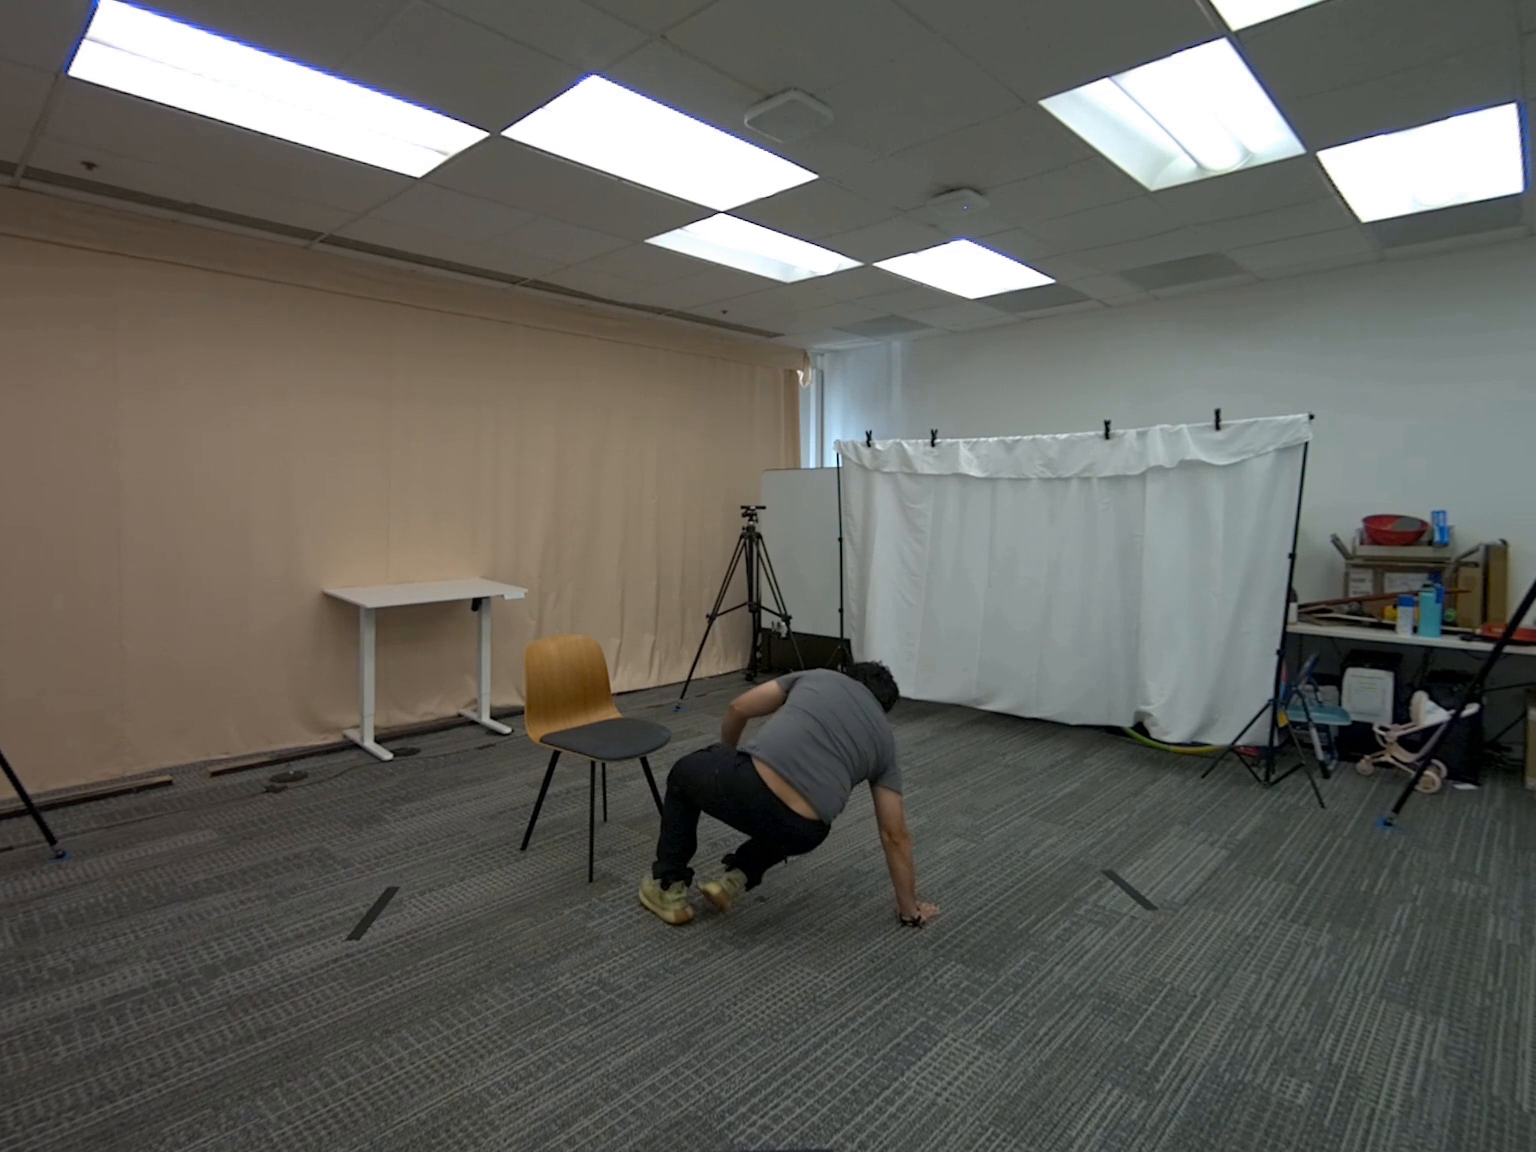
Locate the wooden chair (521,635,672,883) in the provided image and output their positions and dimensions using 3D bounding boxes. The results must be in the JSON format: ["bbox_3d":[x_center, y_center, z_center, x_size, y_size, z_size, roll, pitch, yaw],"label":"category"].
[{"bbox_3d":[-0.687,0.688,3.402,0.539,0.877,0.463,-3,0,42],"label":"wooden chair"}]
